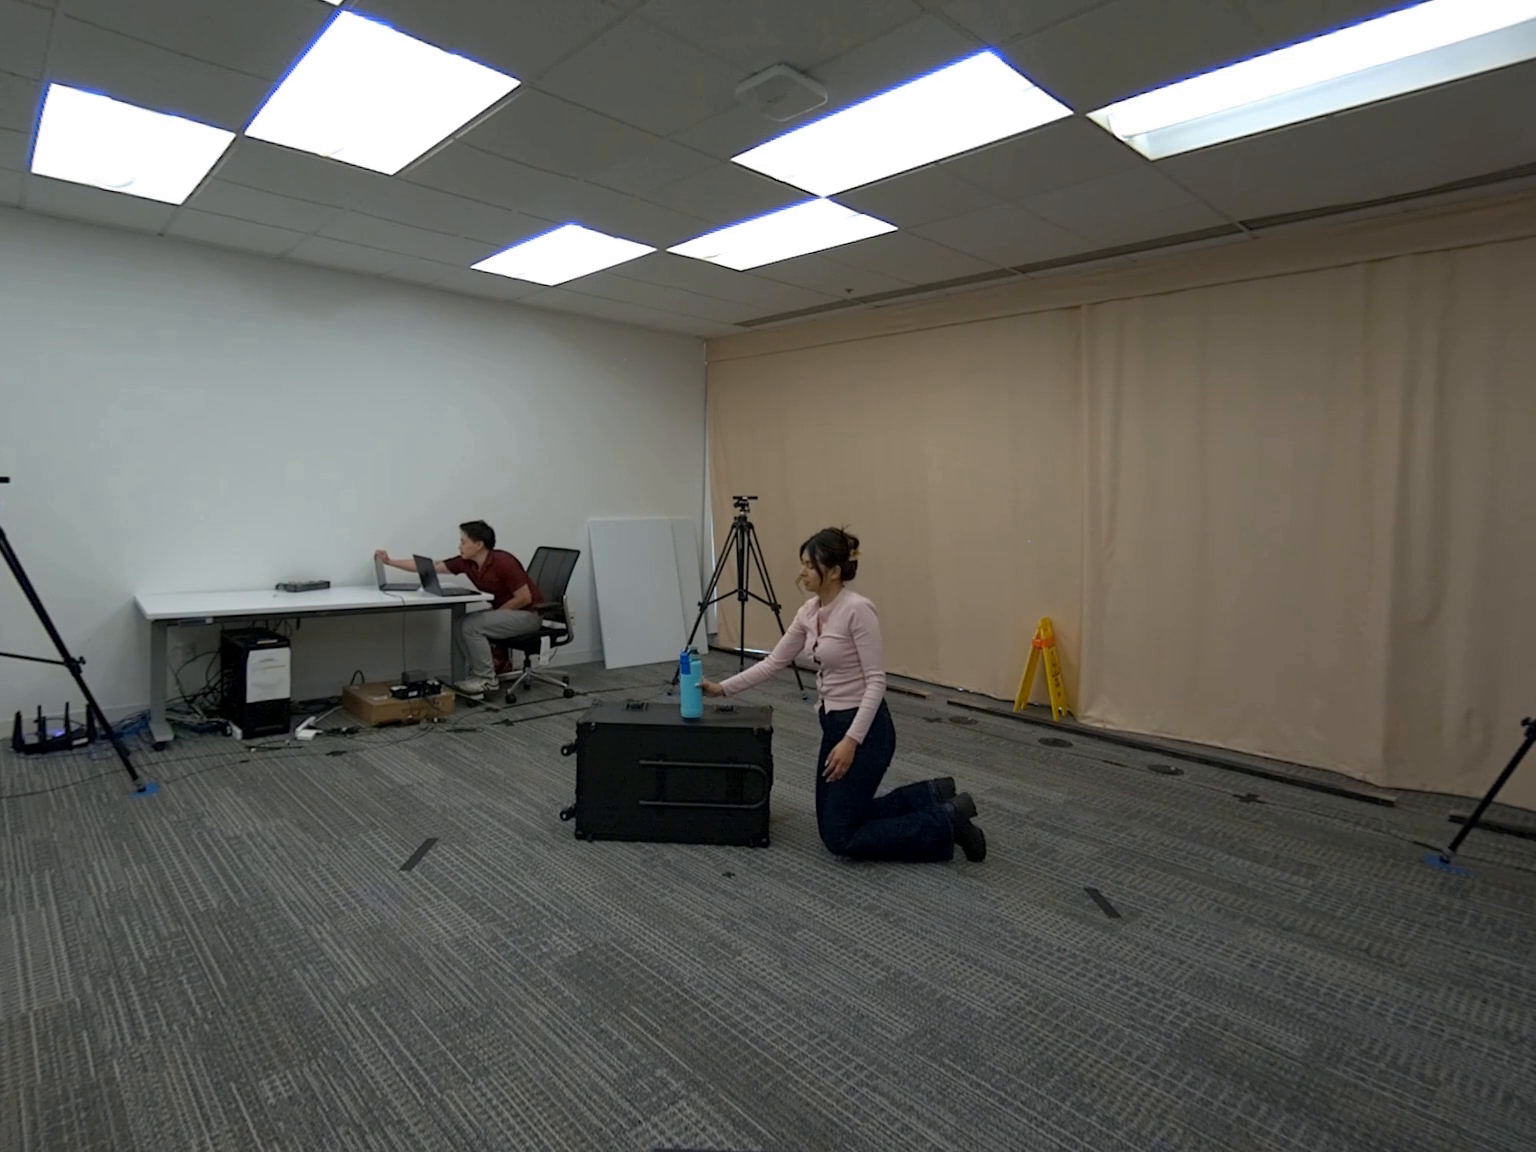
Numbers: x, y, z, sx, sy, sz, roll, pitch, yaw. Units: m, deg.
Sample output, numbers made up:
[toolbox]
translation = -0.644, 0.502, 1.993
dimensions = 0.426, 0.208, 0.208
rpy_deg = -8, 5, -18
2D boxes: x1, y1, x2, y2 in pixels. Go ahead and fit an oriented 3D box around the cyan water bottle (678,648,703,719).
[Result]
[cyan water bottle]
translation = -0.314, 0.418, 3.445
dimensions = 0.092, 0.283, 0.092
rpy_deg = -1, 1, -1
